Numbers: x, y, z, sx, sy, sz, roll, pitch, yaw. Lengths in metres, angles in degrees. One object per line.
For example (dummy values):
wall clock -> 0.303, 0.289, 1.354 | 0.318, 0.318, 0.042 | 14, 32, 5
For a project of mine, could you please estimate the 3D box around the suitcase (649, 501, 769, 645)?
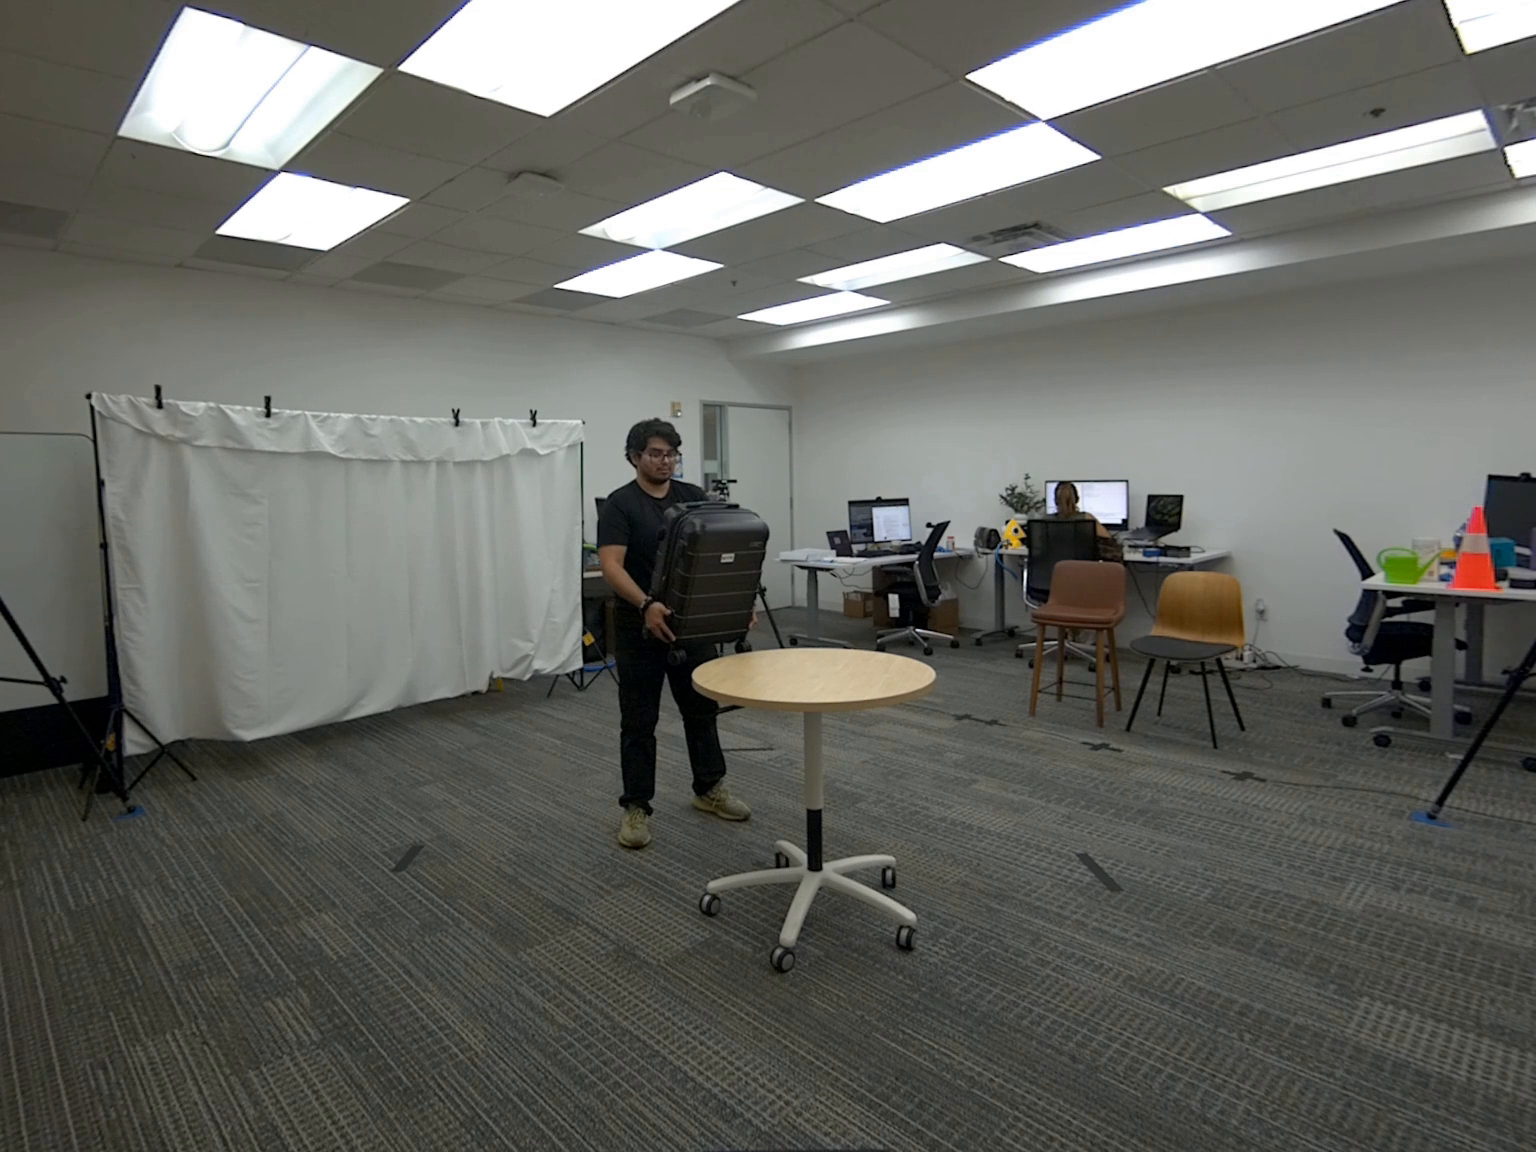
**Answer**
suitcase -> -0.226, 0.003, 3.127 | 0.366, 0.542, 0.258 | -2, 24, -32
